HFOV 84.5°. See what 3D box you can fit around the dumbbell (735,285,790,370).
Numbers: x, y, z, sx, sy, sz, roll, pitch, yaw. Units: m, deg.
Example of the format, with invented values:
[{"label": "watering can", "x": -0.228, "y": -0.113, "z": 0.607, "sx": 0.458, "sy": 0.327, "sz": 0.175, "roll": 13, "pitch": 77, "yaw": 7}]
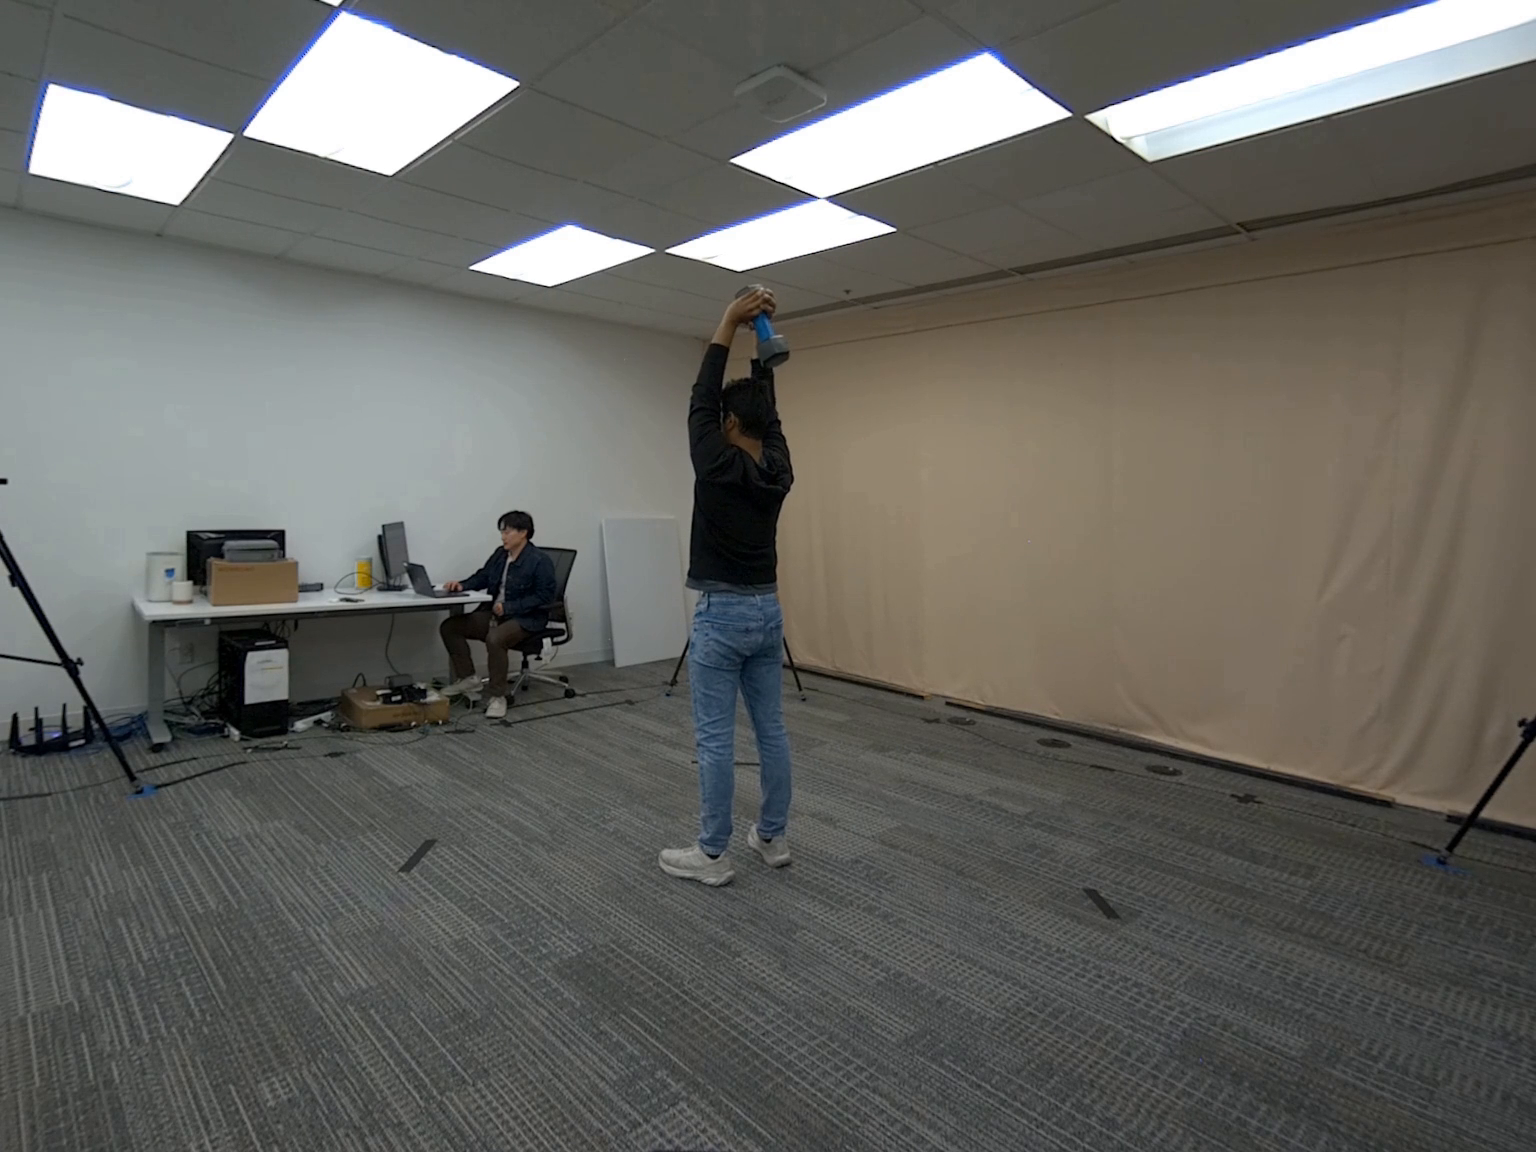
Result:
[{"label": "dumbbell", "x": -0.026, "y": -0.903, "z": 3.062, "sx": 0.121, "sy": 0.296, "sz": 0.109, "roll": -18, "pitch": -9, "yaw": -29}]
